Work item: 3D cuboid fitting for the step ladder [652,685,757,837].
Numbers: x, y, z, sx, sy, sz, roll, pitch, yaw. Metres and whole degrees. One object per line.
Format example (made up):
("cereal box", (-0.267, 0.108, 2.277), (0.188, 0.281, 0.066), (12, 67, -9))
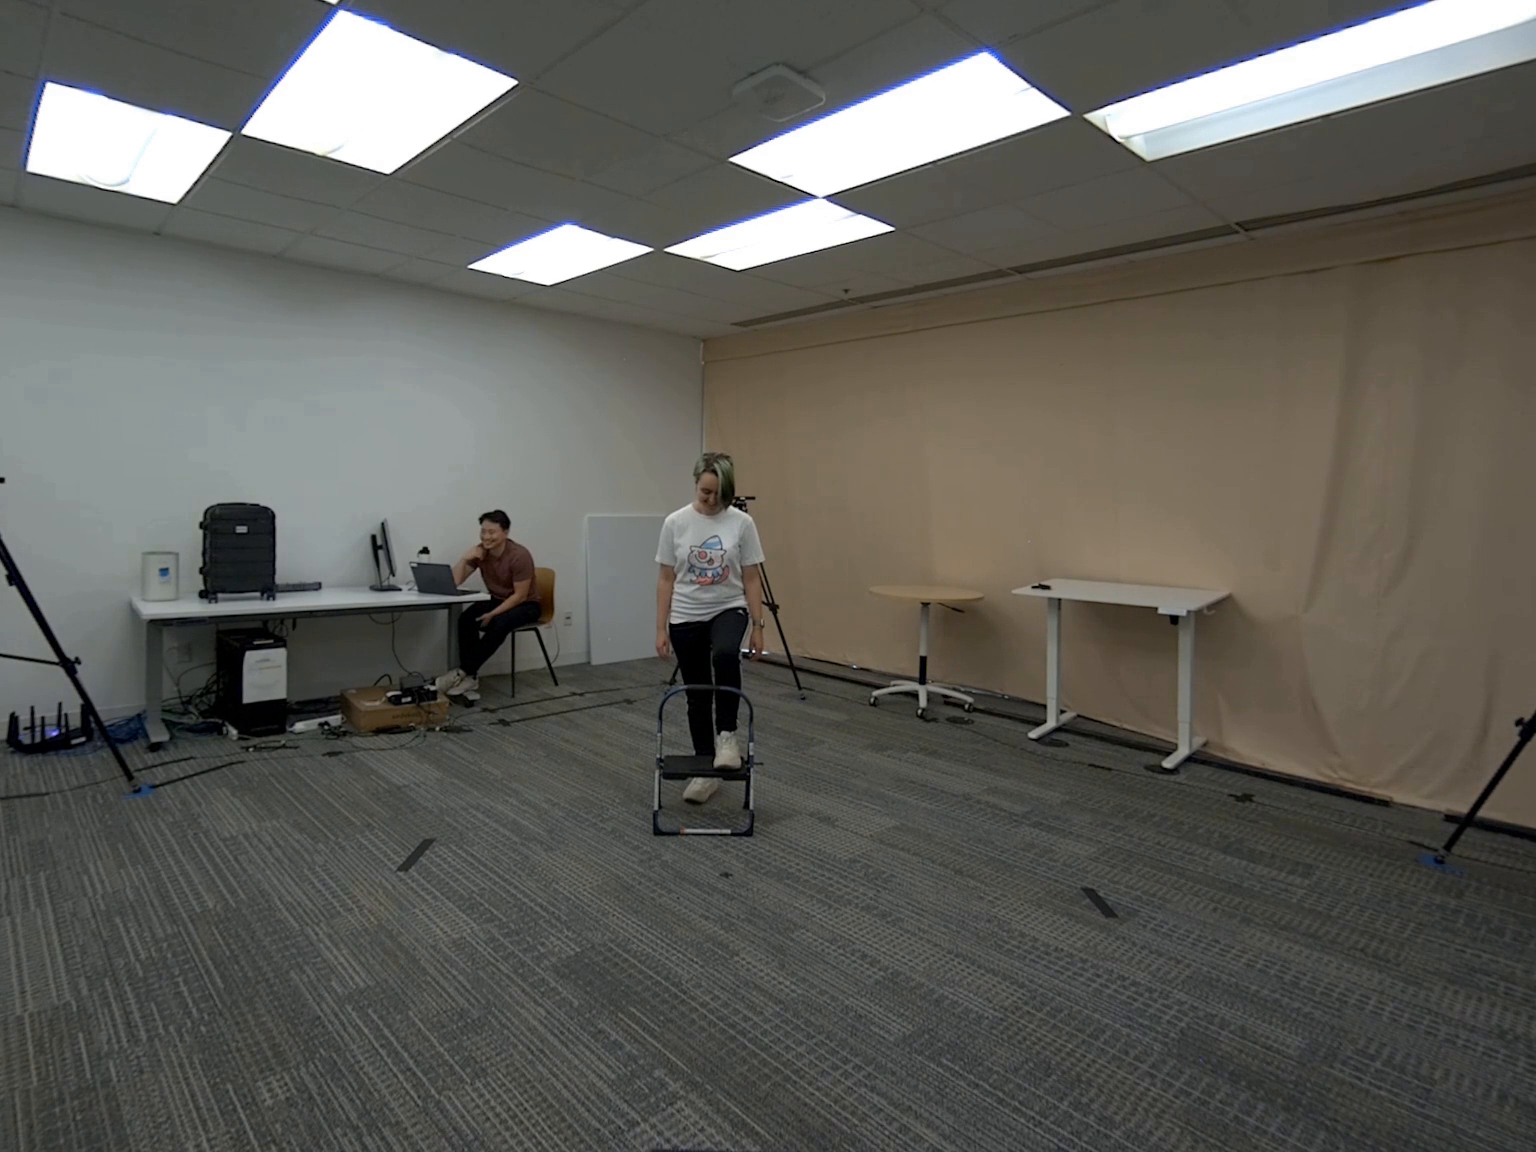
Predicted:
("step ladder", (-0.285, 0.760, 3.615), (0.429, 0.605, 0.351), (1, 3, -4))
